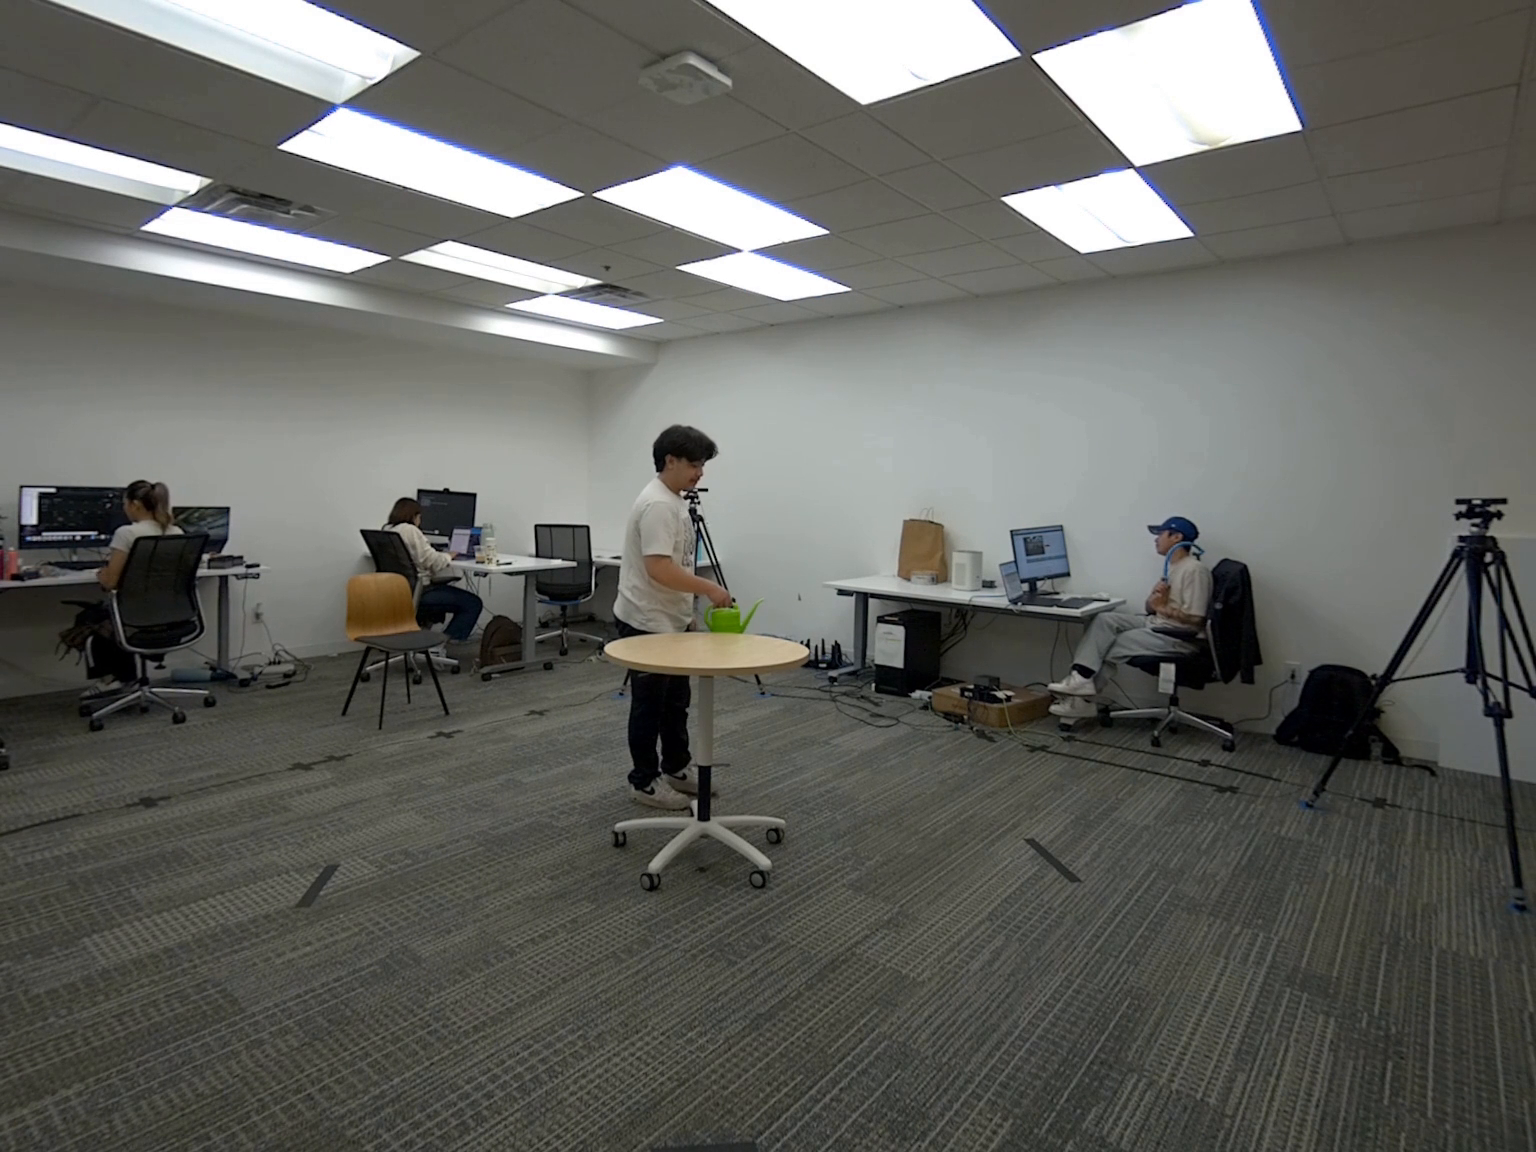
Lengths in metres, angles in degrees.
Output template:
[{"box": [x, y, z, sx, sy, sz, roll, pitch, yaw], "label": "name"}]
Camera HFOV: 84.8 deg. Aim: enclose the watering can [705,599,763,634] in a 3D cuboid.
[{"box": [-0.152, 0.193, 3.693, 0.277, 0.176, 0.098, -2, 2, -3], "label": "watering can"}]
